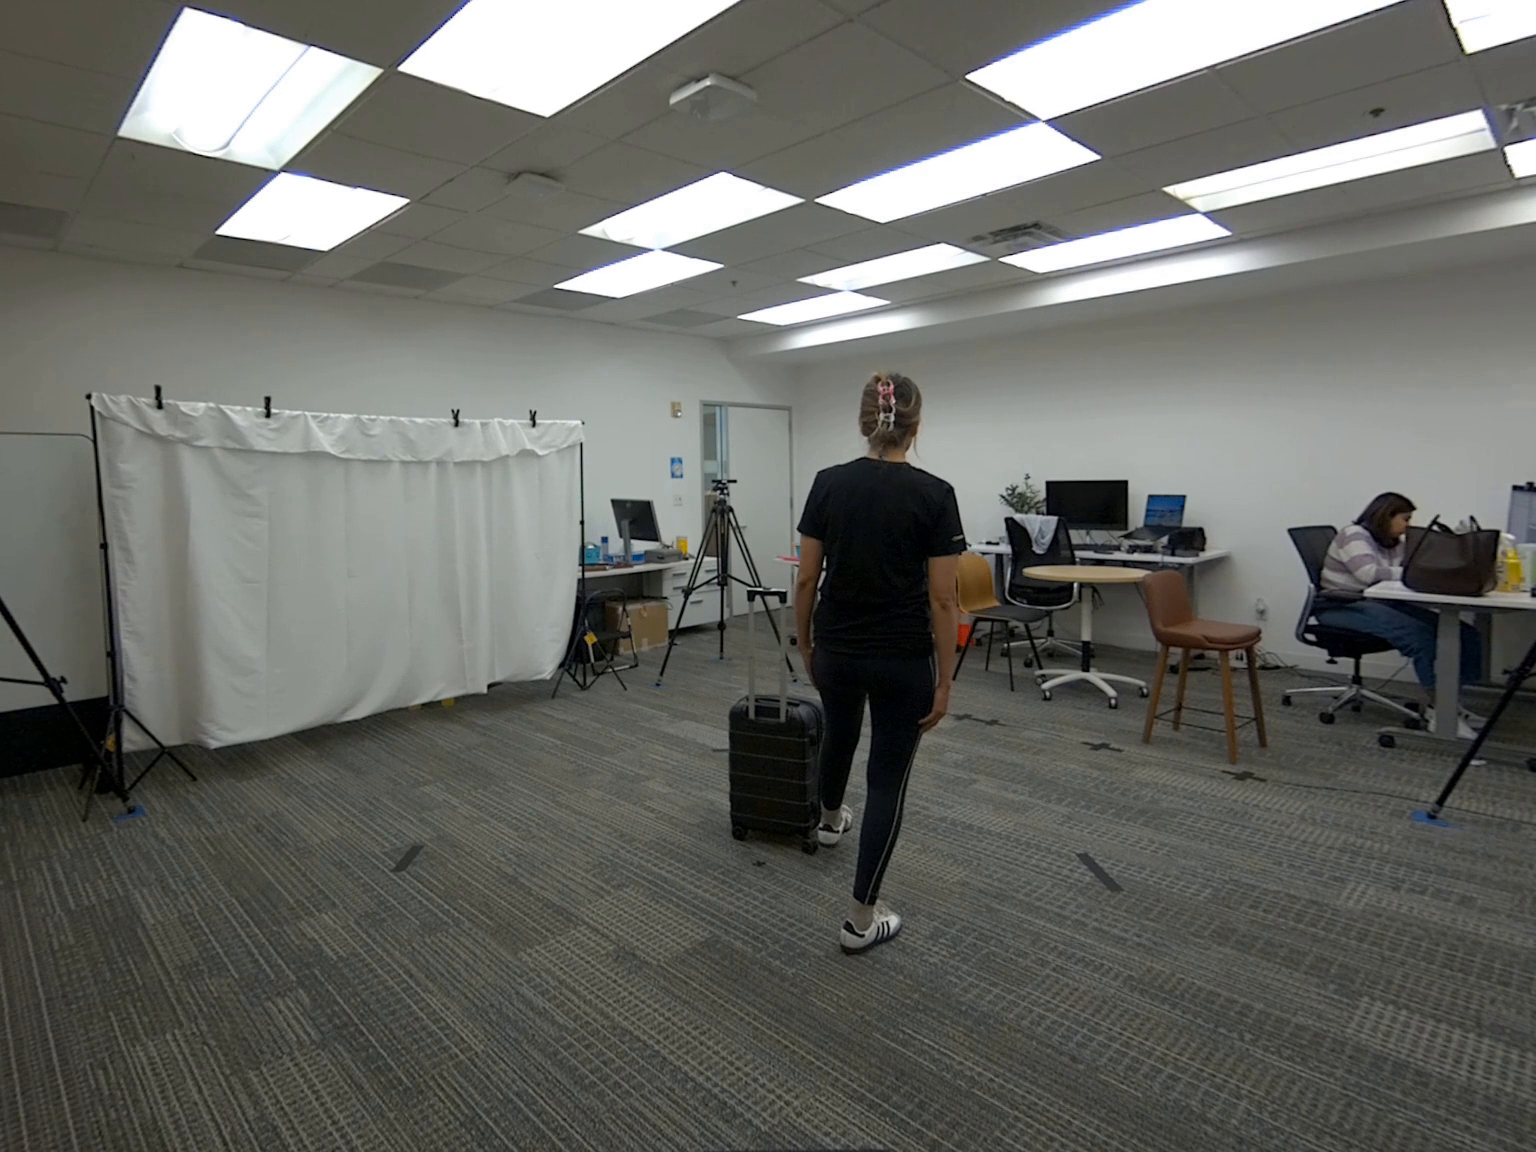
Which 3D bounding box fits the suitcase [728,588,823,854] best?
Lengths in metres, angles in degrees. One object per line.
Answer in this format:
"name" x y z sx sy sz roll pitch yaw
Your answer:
"suitcase" 0.037 0.544 3.350 0.392 0.977 0.252 0 2 24
